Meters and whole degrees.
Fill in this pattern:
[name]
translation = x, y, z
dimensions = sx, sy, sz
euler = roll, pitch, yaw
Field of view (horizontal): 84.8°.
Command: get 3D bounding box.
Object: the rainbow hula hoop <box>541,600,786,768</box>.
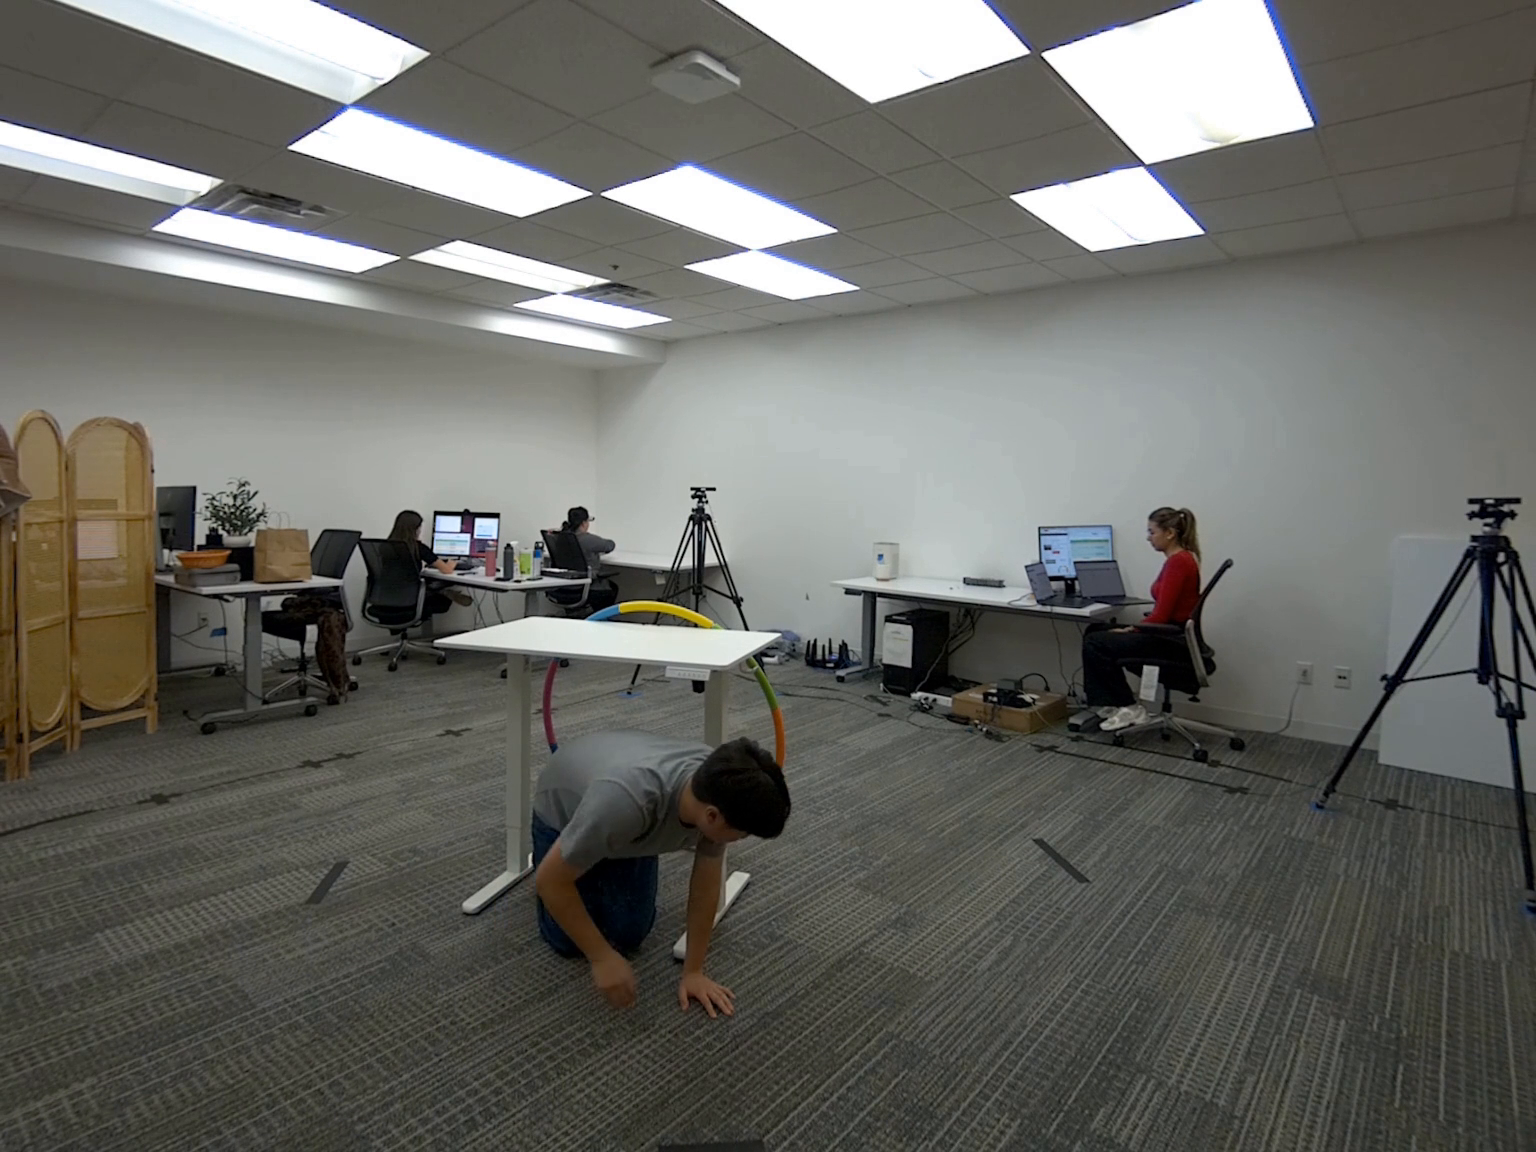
[rainbow hula hoop]
translation = -0.426, 0.570, 3.218
dimensions = 0.998, 0.967, 0.035
euler = 3, 12, 18
